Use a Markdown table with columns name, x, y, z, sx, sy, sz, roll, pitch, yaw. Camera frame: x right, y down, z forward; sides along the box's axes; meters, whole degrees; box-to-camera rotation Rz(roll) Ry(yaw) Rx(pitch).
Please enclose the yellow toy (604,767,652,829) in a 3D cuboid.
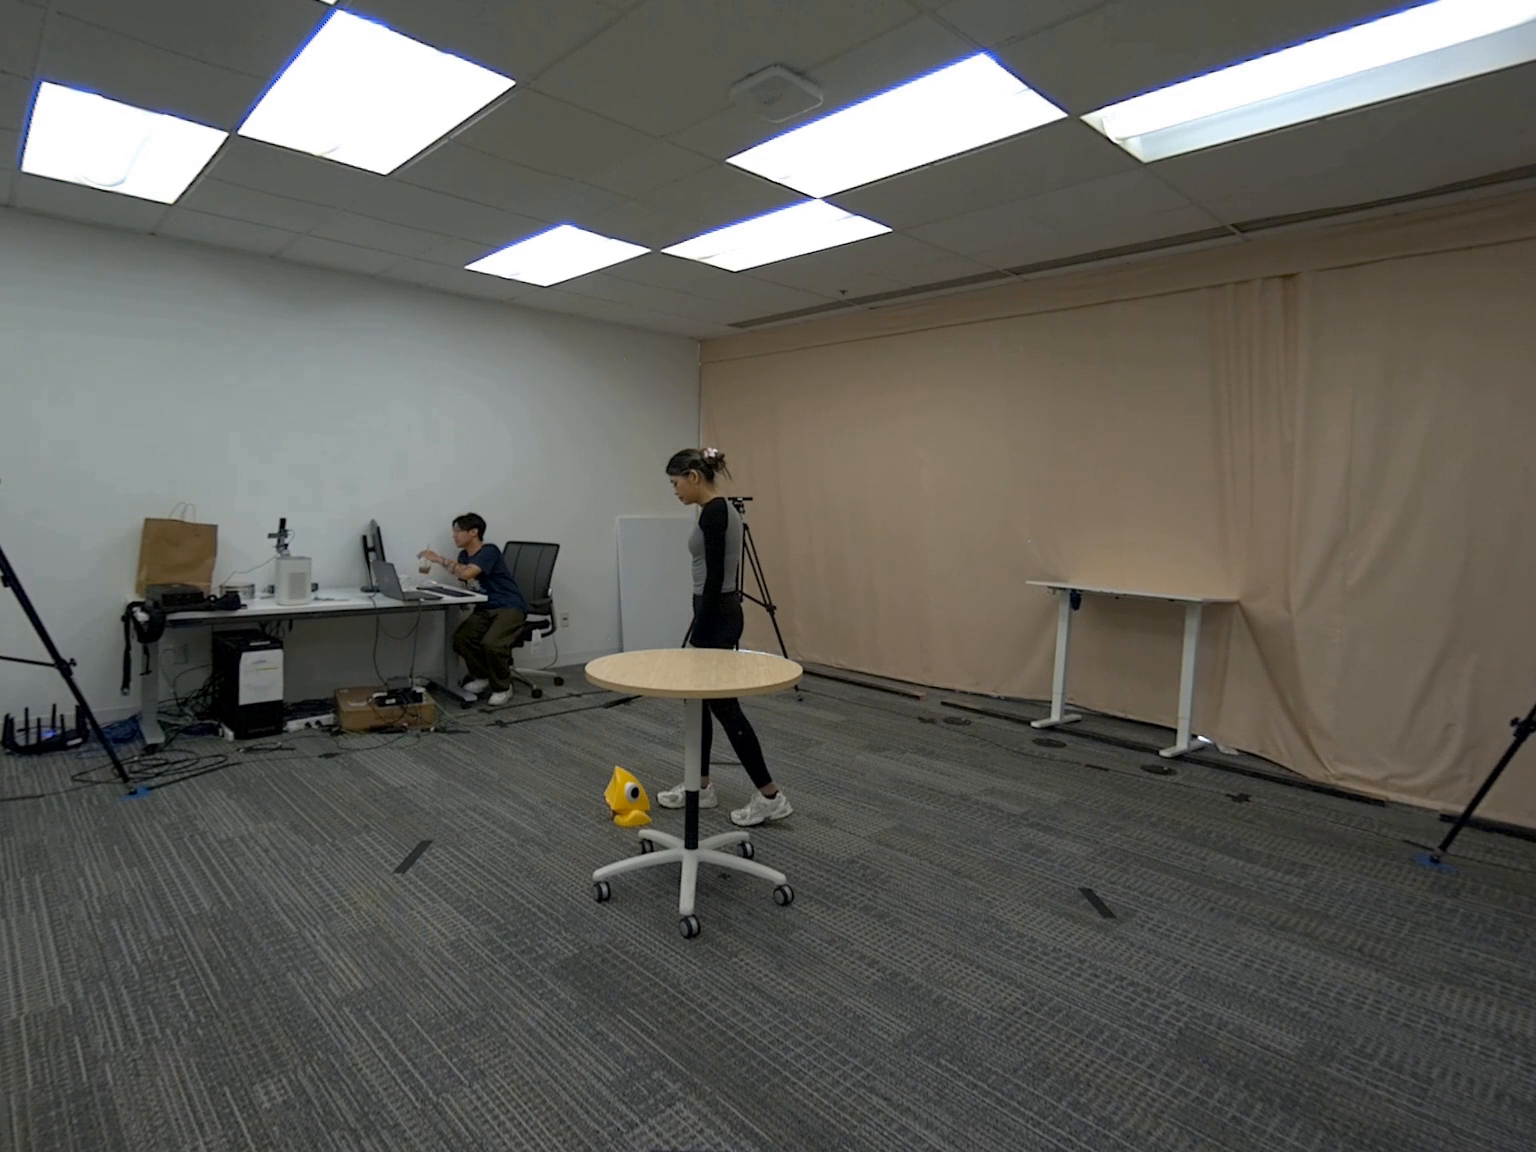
| name | x | y | z | sx | sy | sz | roll | pitch | yaw |
| --- | --- | --- | --- | --- | --- | --- | --- | --- | --- |
| yellow toy | -0.609 | 0.936 | 3.650 | 0.190 | 0.230 | 0.208 | 1 | 3 | -20 |
